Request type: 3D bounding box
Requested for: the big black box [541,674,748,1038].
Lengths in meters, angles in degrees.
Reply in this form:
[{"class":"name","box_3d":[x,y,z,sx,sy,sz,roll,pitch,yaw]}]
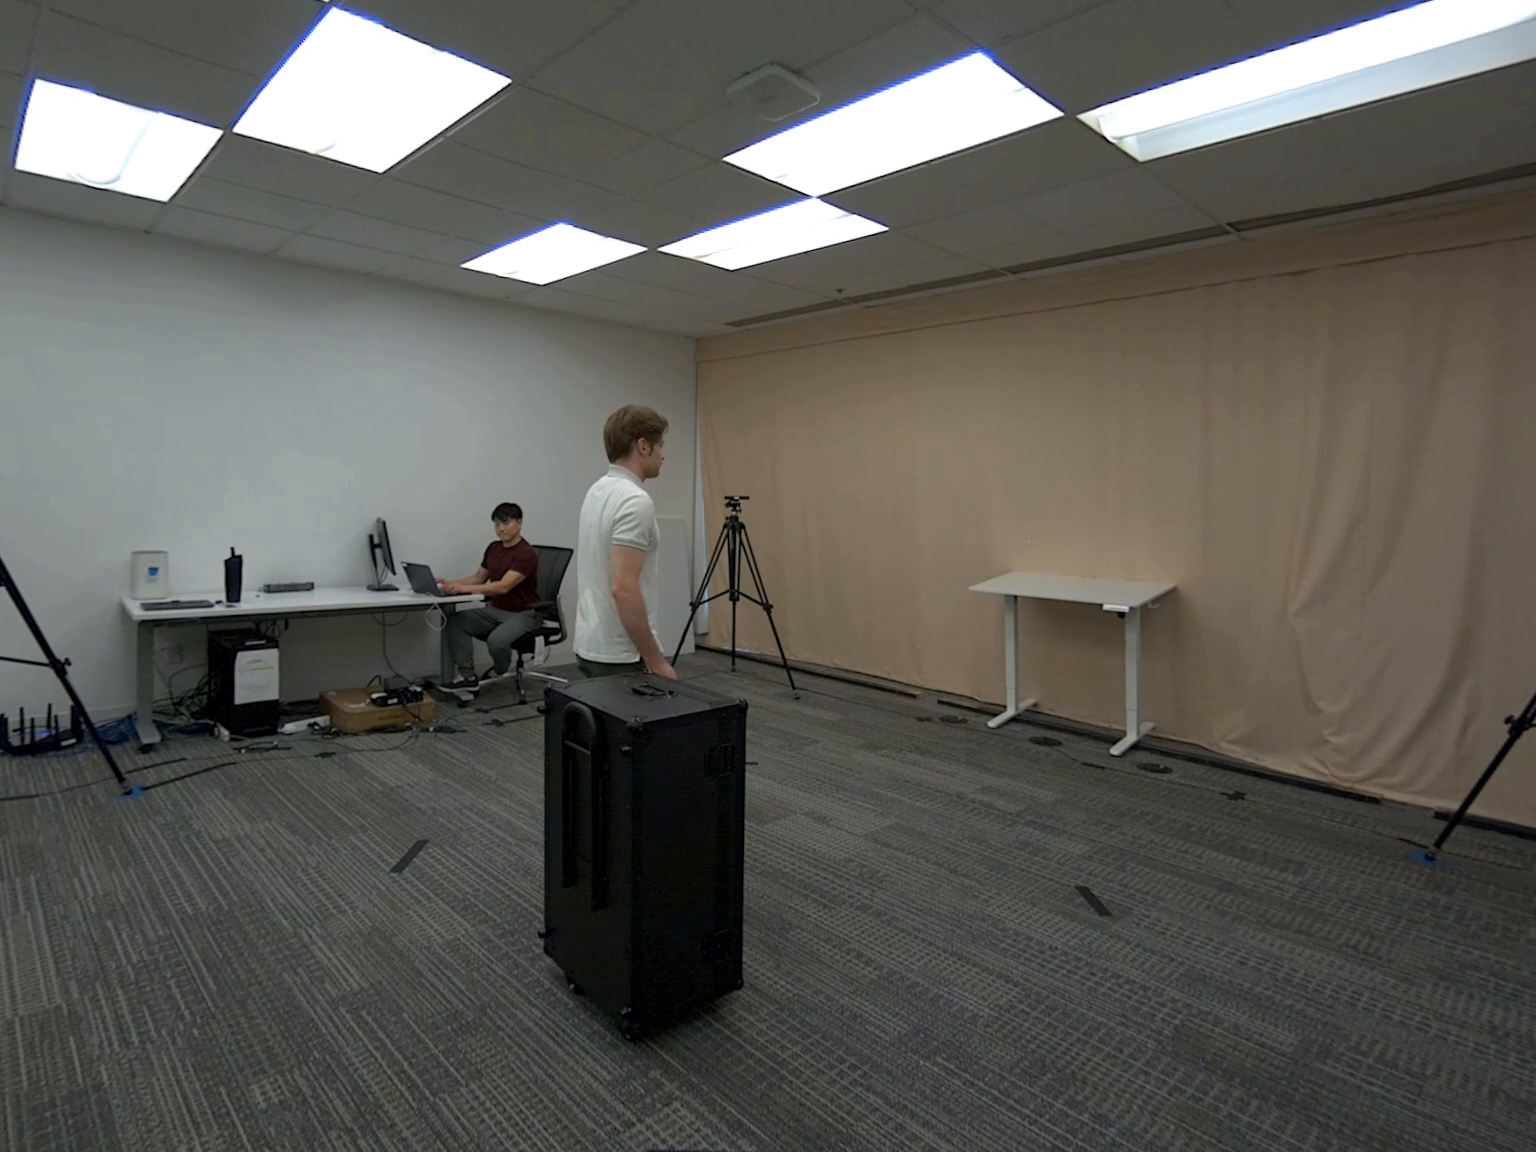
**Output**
[{"class":"big black box","box_3d":[-0.351,0.750,2.319,0.376,0.867,0.536,-2,4,-40]}]
